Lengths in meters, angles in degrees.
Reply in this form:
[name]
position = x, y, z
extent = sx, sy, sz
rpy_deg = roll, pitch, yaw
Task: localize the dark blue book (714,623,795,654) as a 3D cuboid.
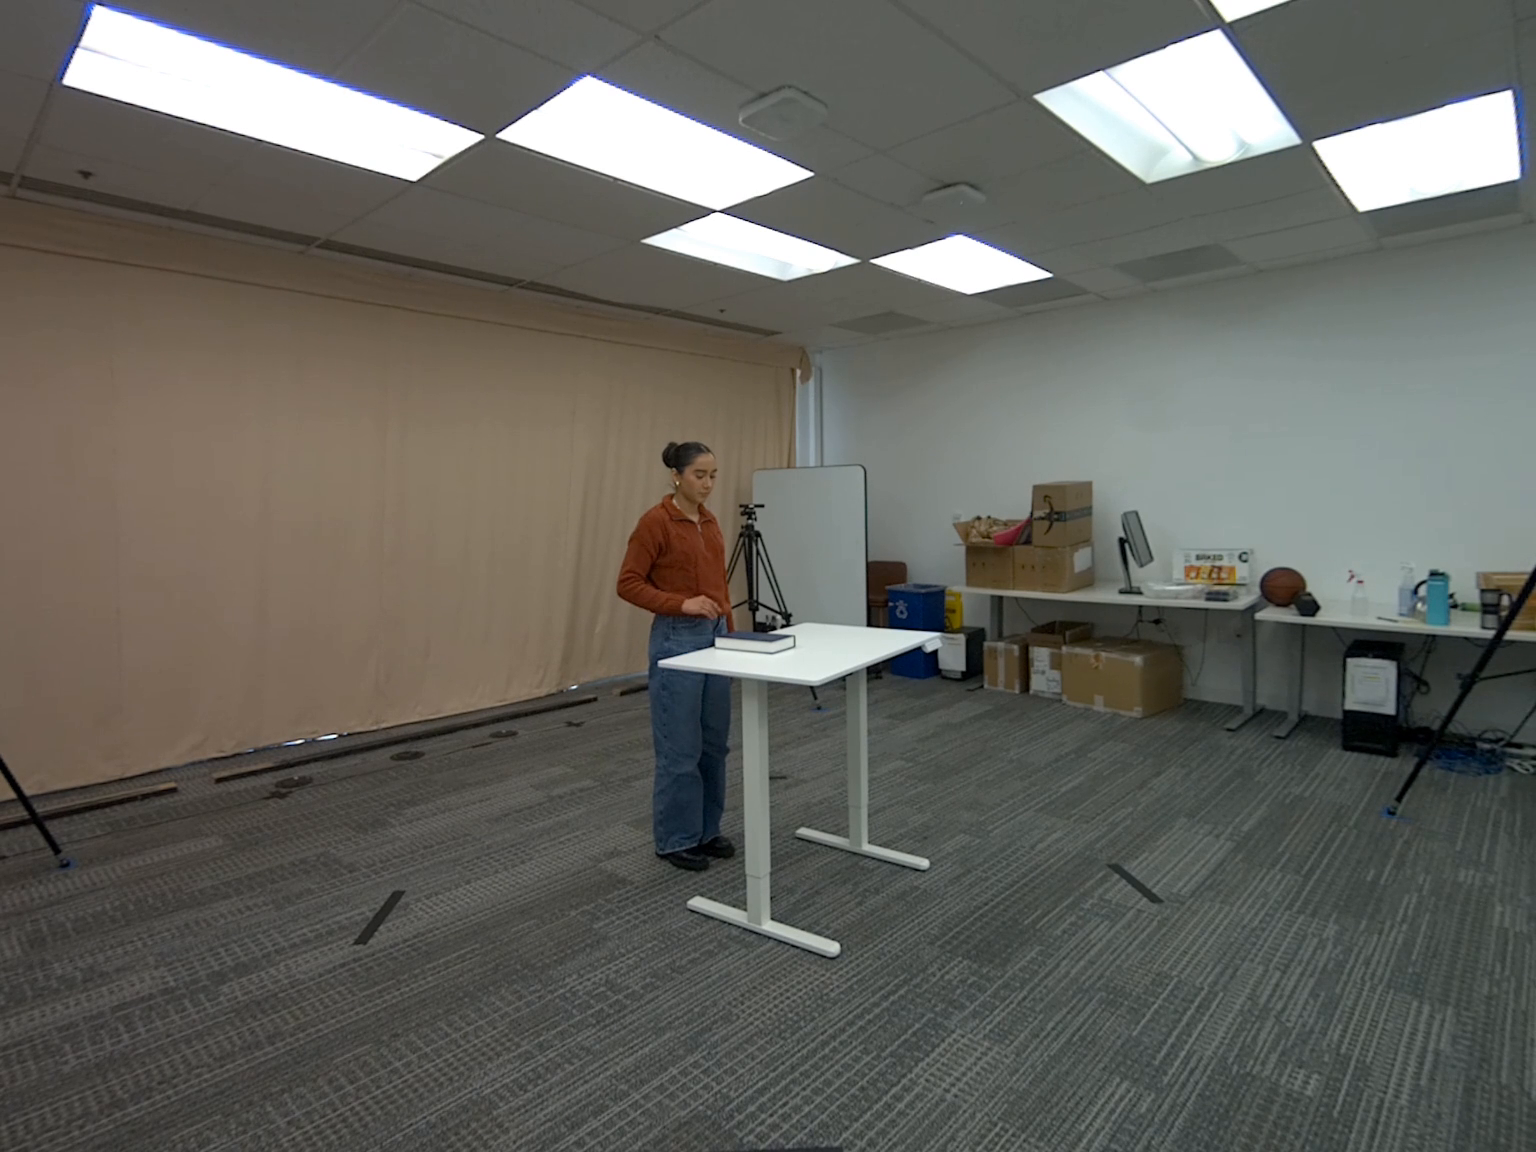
[dark blue book]
position = -0.044, 0.238, 3.003
extent = 0.252, 0.045, 0.159
rpy_deg = 2, 5, 32
